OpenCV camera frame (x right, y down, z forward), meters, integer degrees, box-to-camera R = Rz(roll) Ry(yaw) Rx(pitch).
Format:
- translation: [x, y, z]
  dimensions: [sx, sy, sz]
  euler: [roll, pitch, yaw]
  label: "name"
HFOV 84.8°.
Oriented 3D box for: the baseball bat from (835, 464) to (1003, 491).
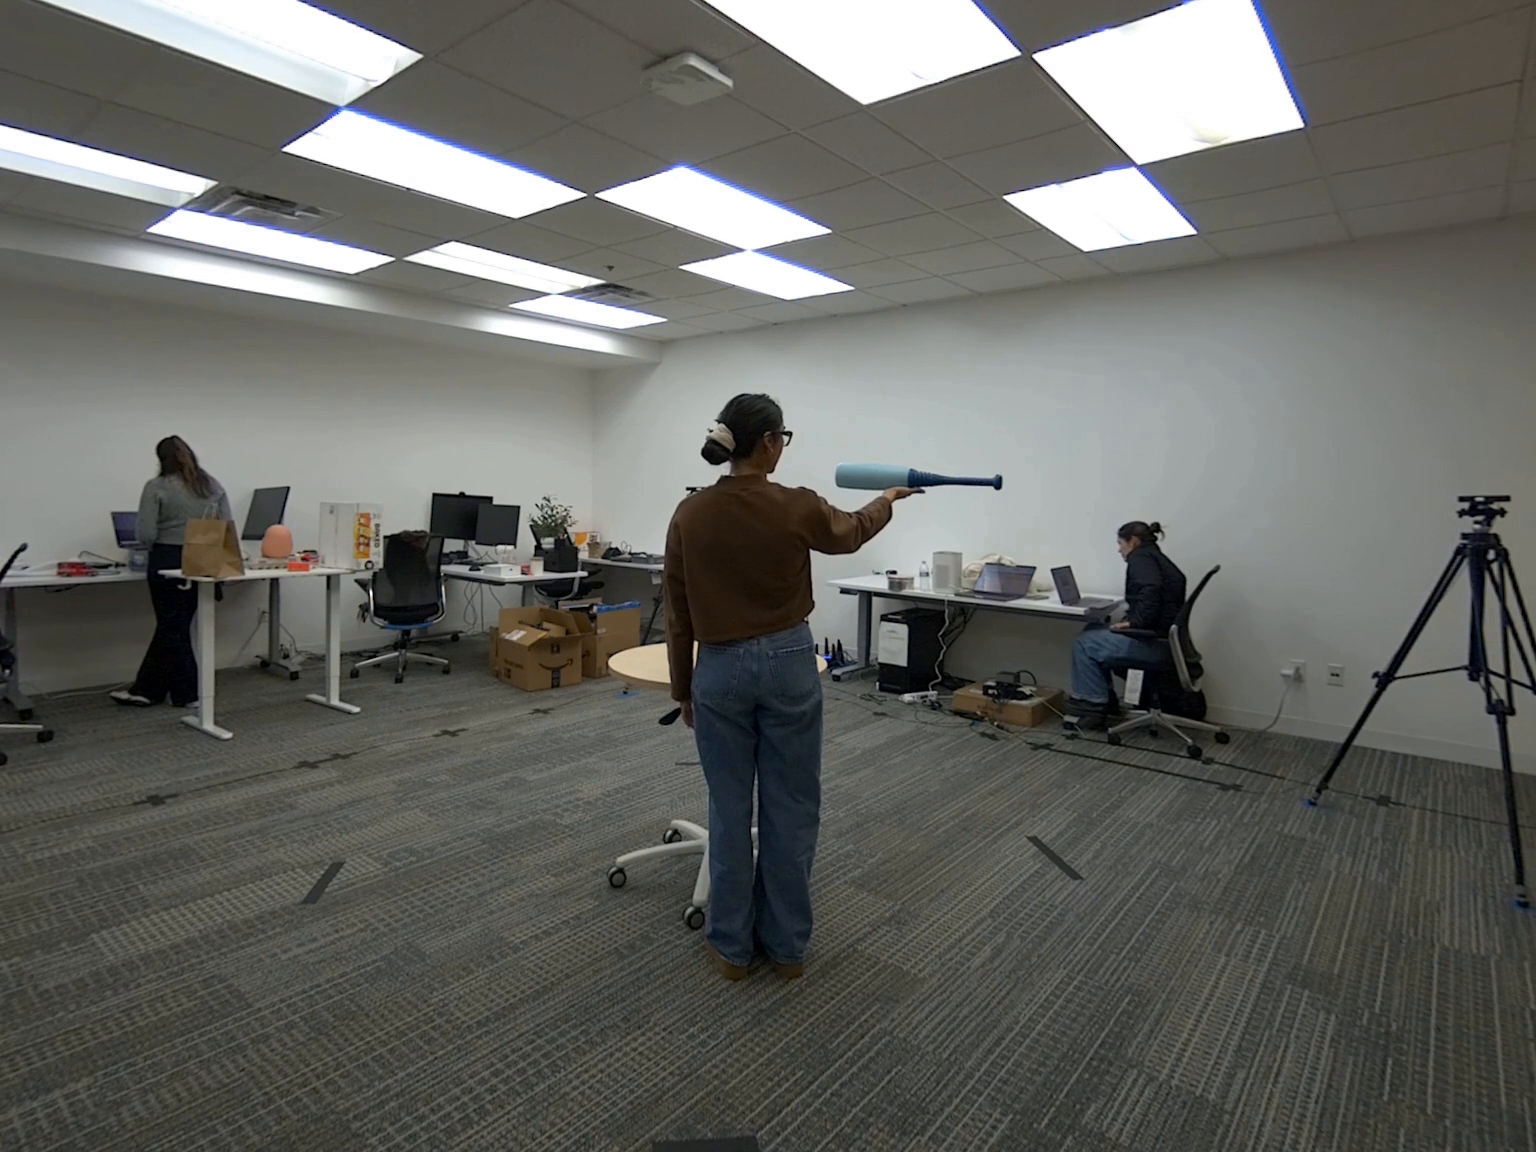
- translation: [0.483, -0.323, 2.803]
  dimensions: [0.557, 0.089, 0.087]
  euler: [6, 6, 24]
  label: "baseball bat"
